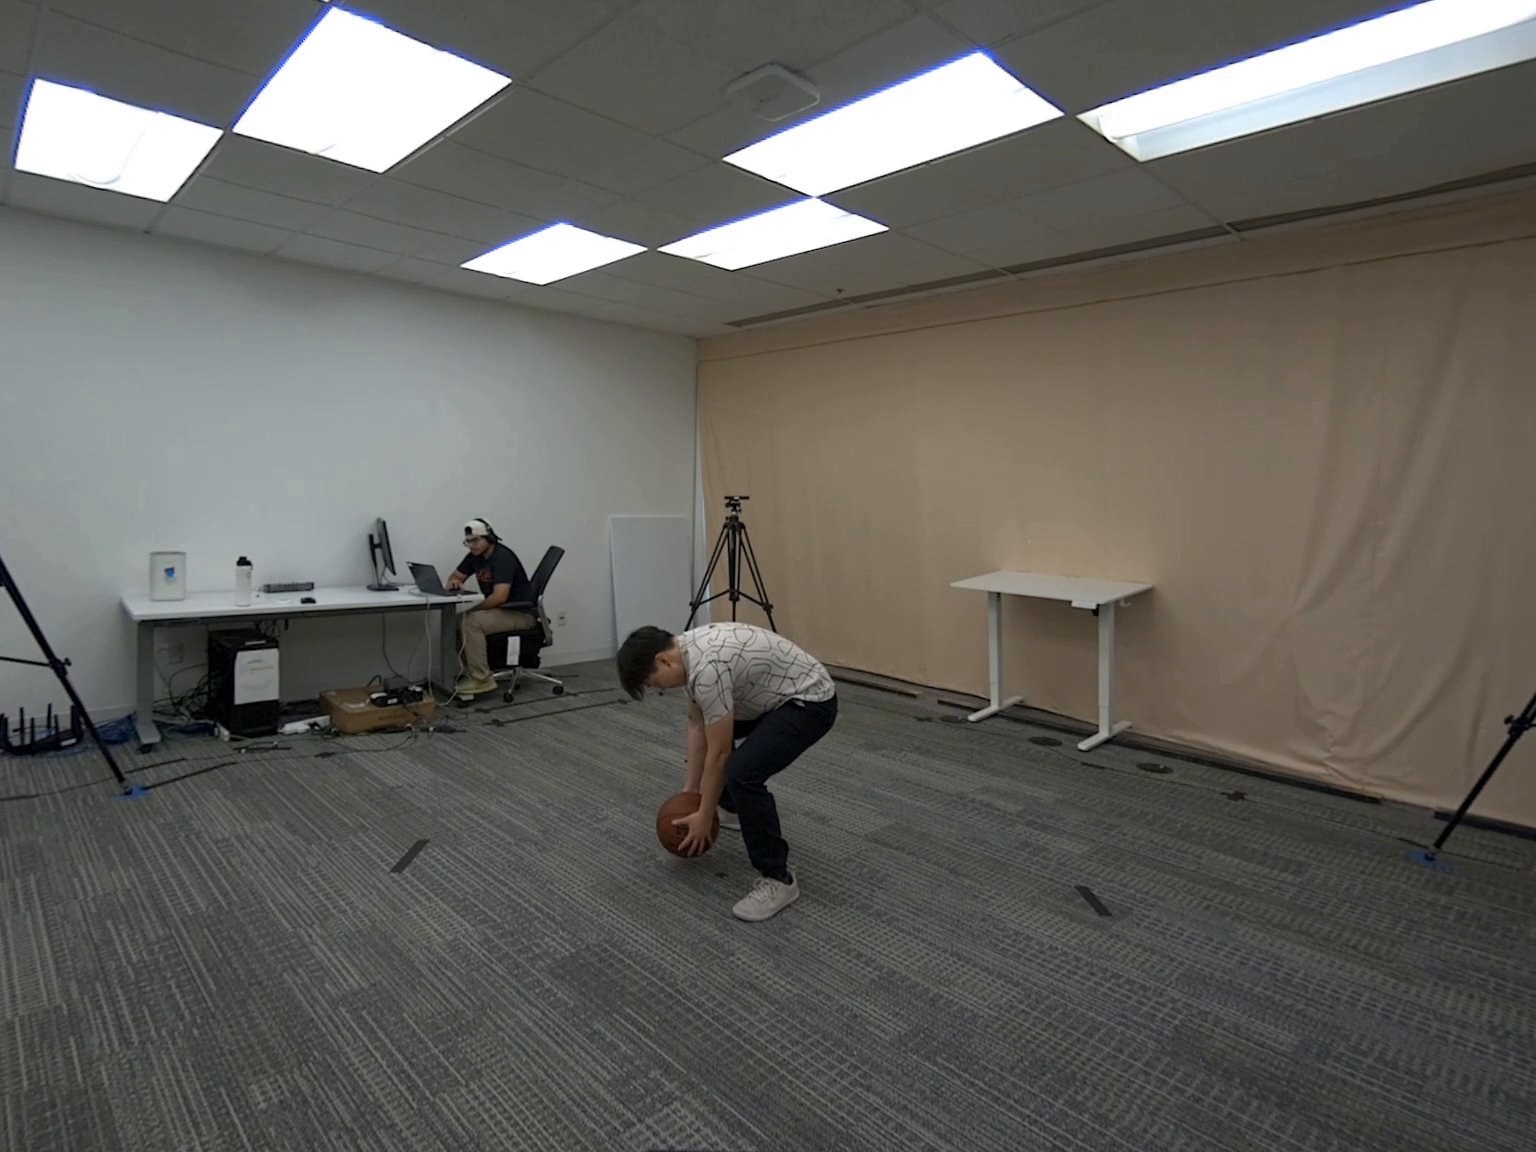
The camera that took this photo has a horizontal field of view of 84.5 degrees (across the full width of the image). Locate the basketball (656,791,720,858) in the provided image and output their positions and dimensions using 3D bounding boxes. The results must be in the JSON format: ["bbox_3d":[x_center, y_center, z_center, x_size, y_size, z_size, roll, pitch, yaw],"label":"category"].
[{"bbox_3d":[-0.315,0.920,3.154,0.236,0.235,0.237,1,4,-1],"label":"basketball"}]
